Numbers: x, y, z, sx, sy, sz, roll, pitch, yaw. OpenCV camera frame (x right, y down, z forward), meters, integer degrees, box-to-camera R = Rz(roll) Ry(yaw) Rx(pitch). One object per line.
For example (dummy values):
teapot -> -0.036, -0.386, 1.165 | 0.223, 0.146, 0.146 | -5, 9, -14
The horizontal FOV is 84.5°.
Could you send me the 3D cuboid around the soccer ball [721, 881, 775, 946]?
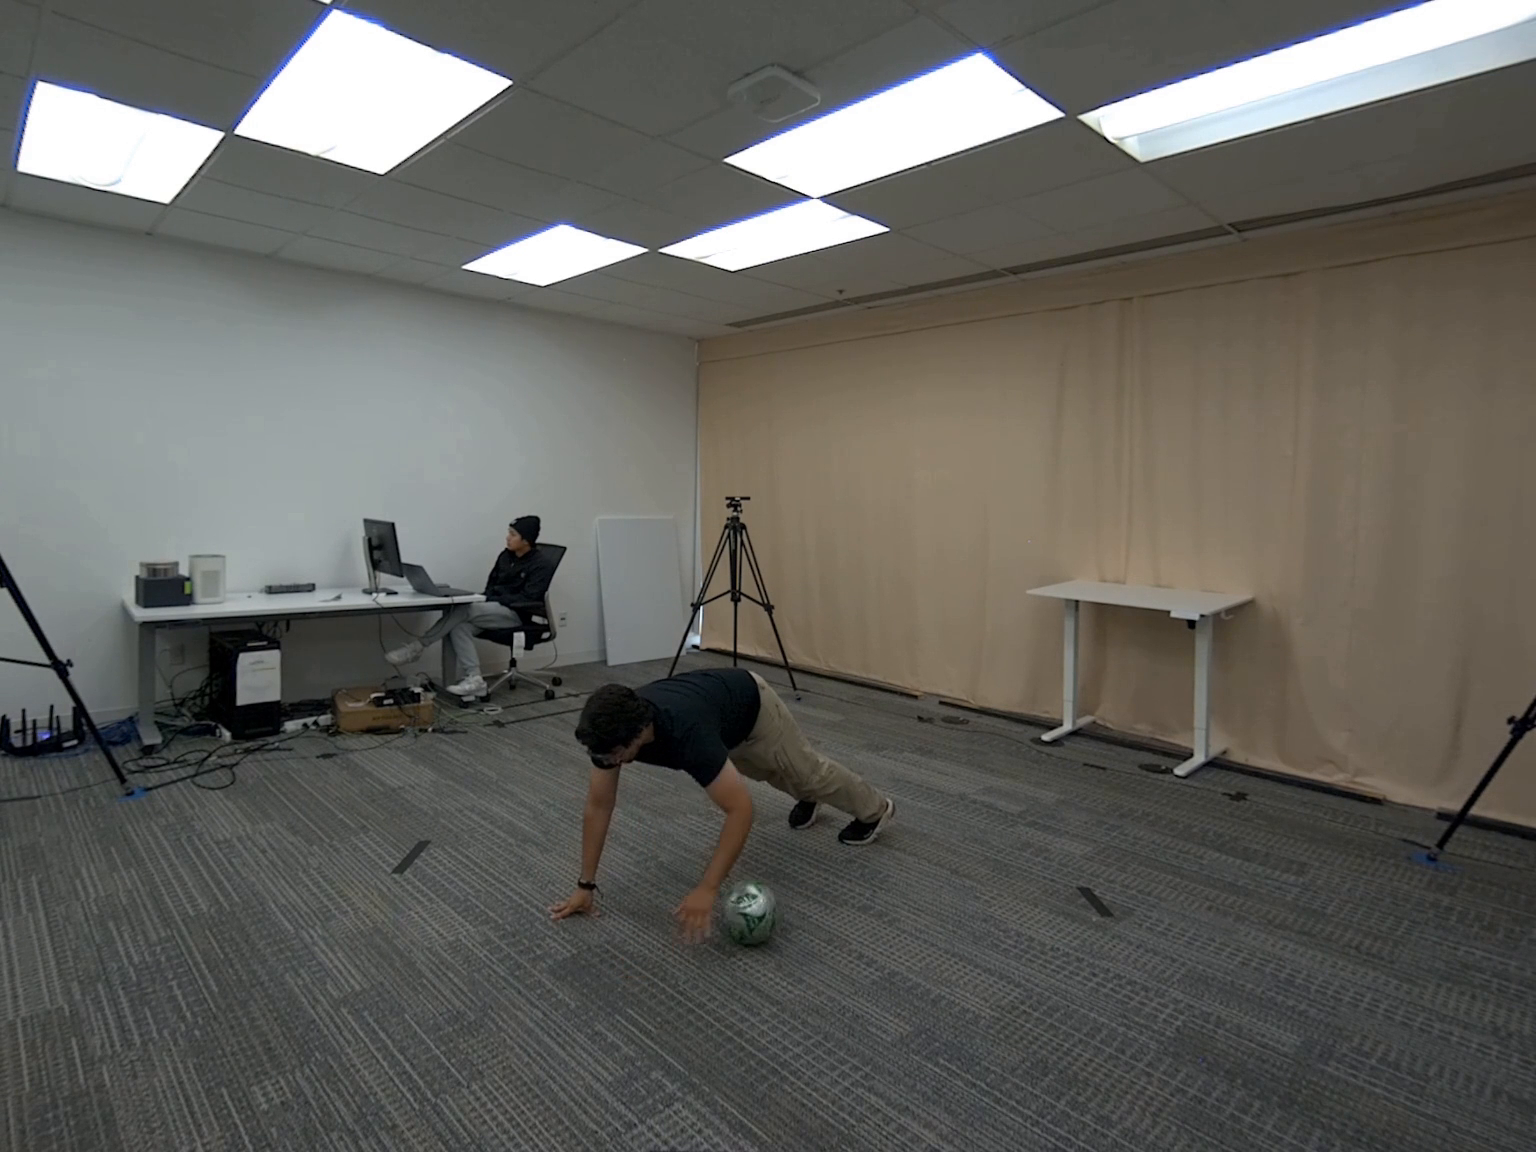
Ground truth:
soccer ball -> -0.067, 1.063, 2.646 | 0.187, 0.187, 0.188 | 1, 4, -1
